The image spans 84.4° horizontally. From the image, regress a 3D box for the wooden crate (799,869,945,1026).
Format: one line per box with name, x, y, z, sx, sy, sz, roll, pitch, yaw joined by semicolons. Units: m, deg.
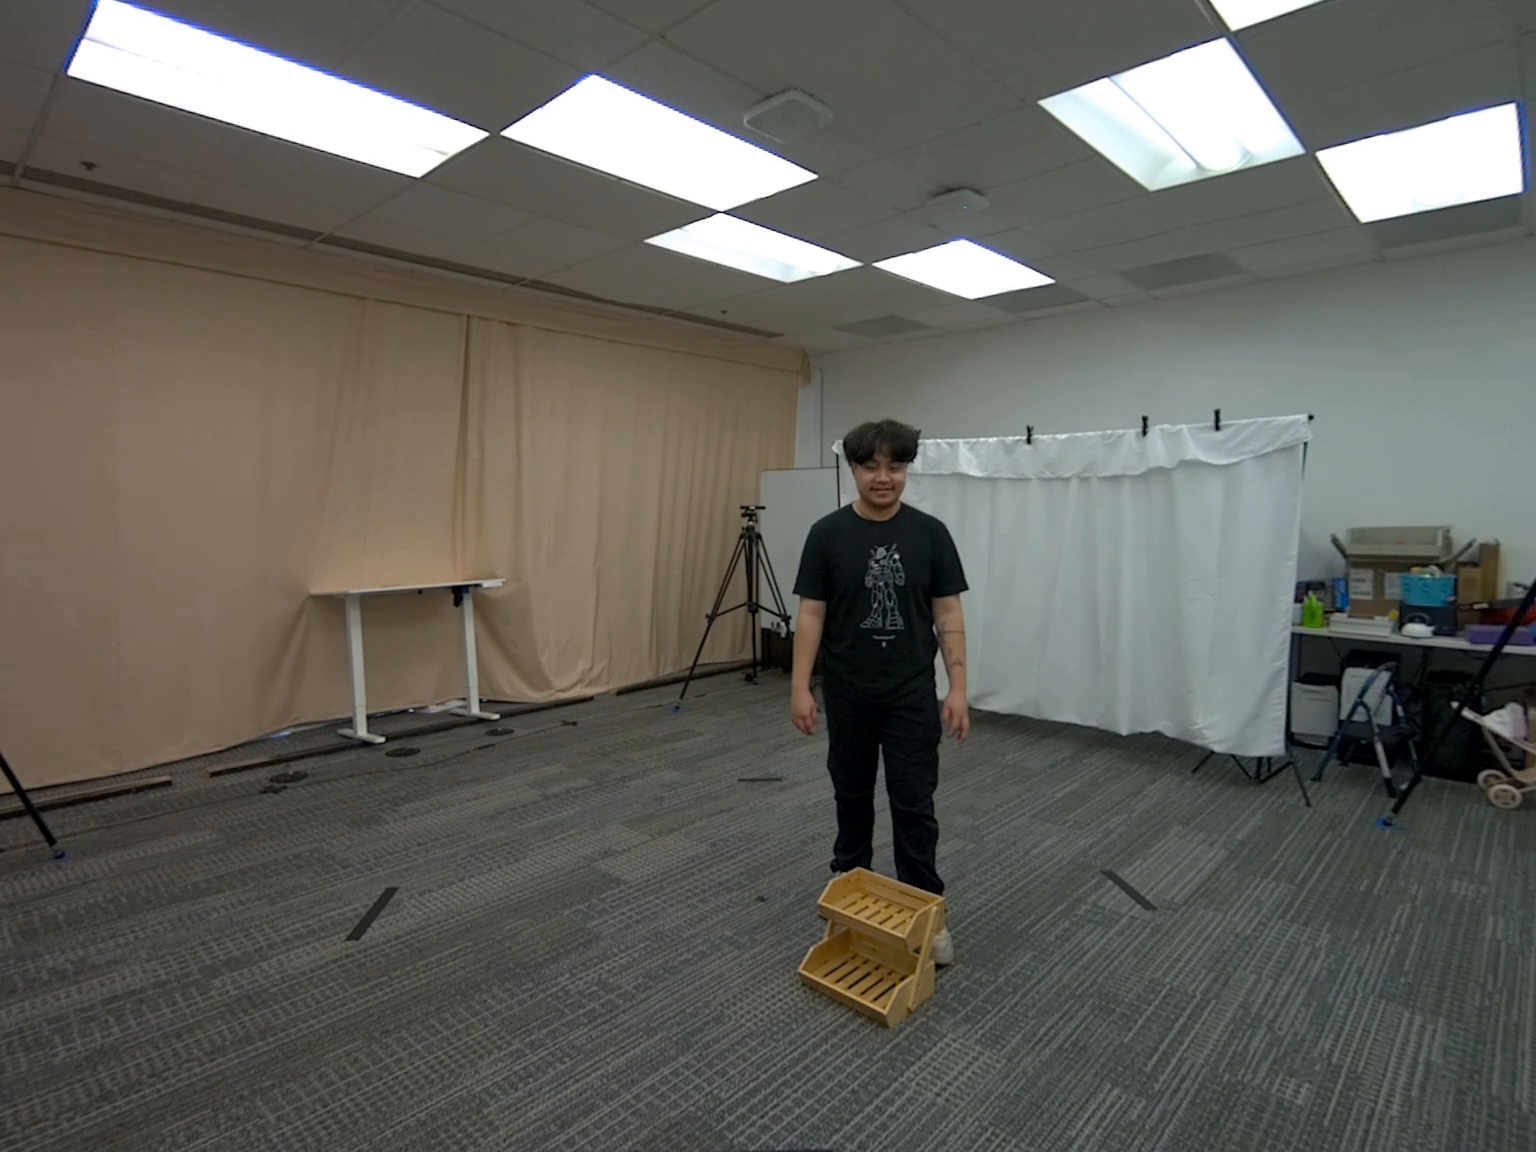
wooden crate;0.303;1.058;2.431;0.335;0.273;0.293;4;4;42
